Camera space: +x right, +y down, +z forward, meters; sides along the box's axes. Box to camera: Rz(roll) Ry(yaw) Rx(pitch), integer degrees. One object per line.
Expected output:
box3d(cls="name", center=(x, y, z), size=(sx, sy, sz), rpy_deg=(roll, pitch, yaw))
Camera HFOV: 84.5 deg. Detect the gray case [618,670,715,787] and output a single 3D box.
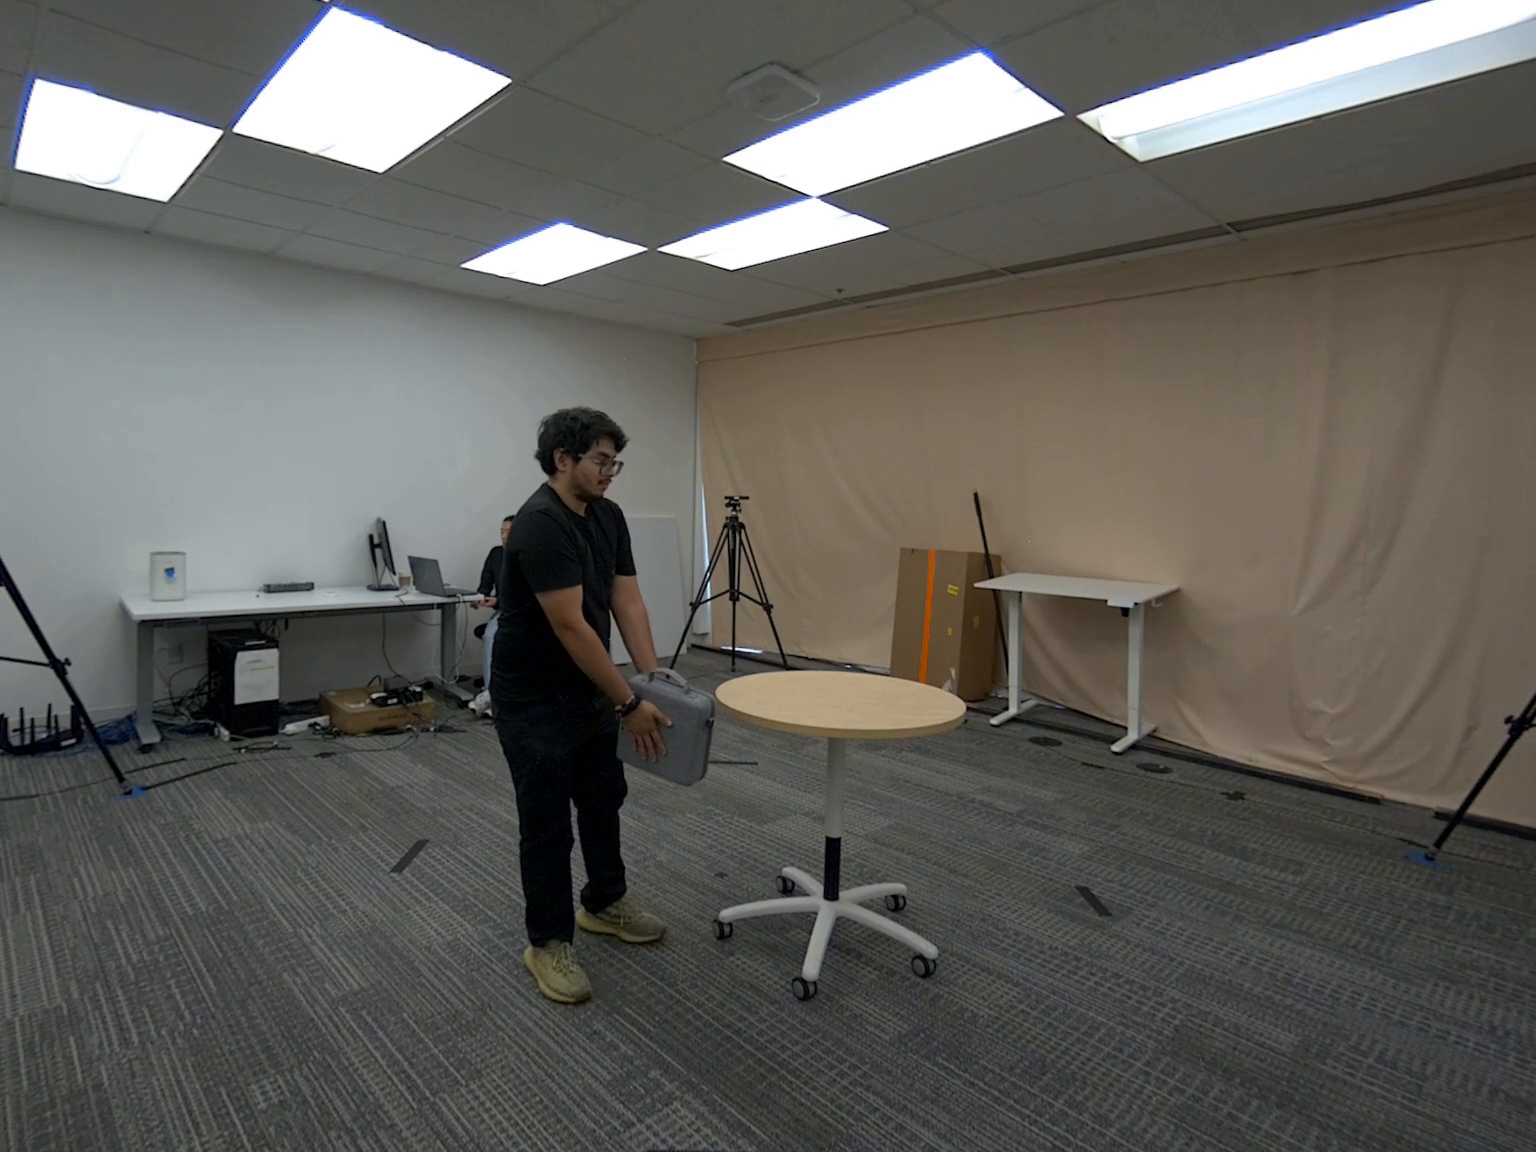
box3d(cls="gray case", center=(-0.274, 0.413, 2.297), size=(0.260, 0.258, 0.104), rpy_deg=(10, 13, 14))
